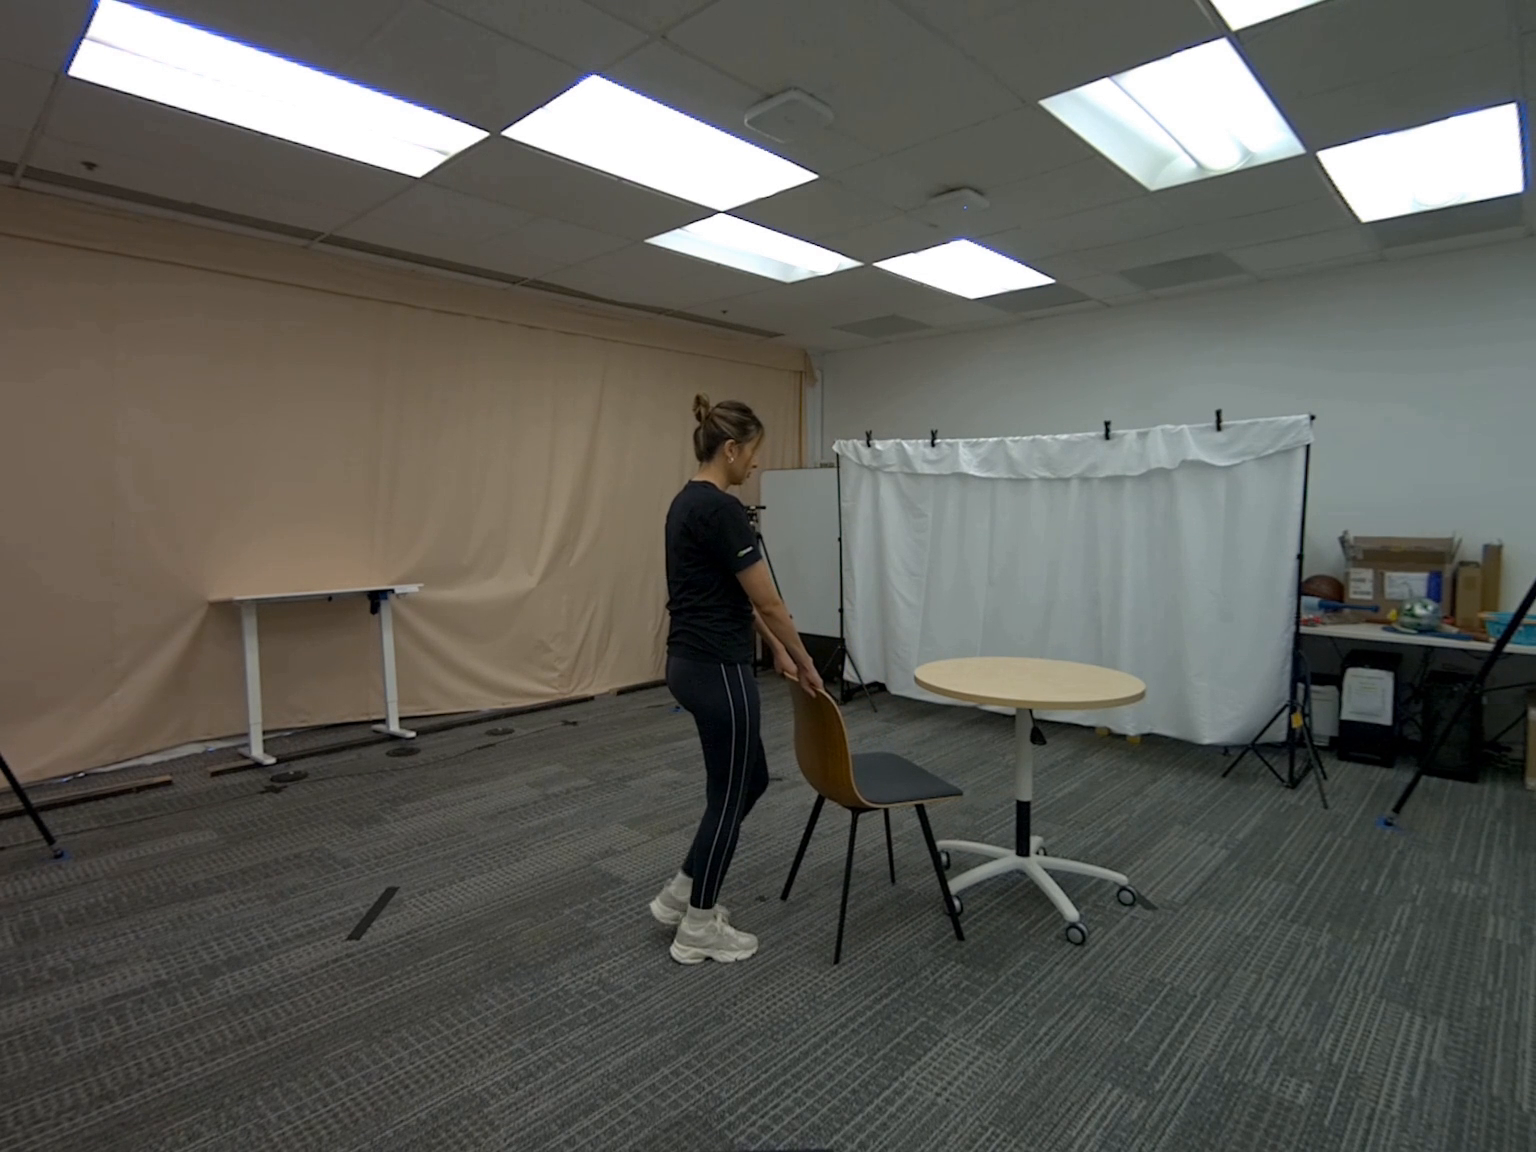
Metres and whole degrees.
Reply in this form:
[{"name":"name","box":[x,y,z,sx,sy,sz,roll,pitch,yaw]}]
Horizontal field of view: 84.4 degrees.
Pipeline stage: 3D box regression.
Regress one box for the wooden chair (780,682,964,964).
[{"name":"wooden chair","box":[0.347,0.733,2.806,0.514,0.875,0.488,-6,4,-19]}]
